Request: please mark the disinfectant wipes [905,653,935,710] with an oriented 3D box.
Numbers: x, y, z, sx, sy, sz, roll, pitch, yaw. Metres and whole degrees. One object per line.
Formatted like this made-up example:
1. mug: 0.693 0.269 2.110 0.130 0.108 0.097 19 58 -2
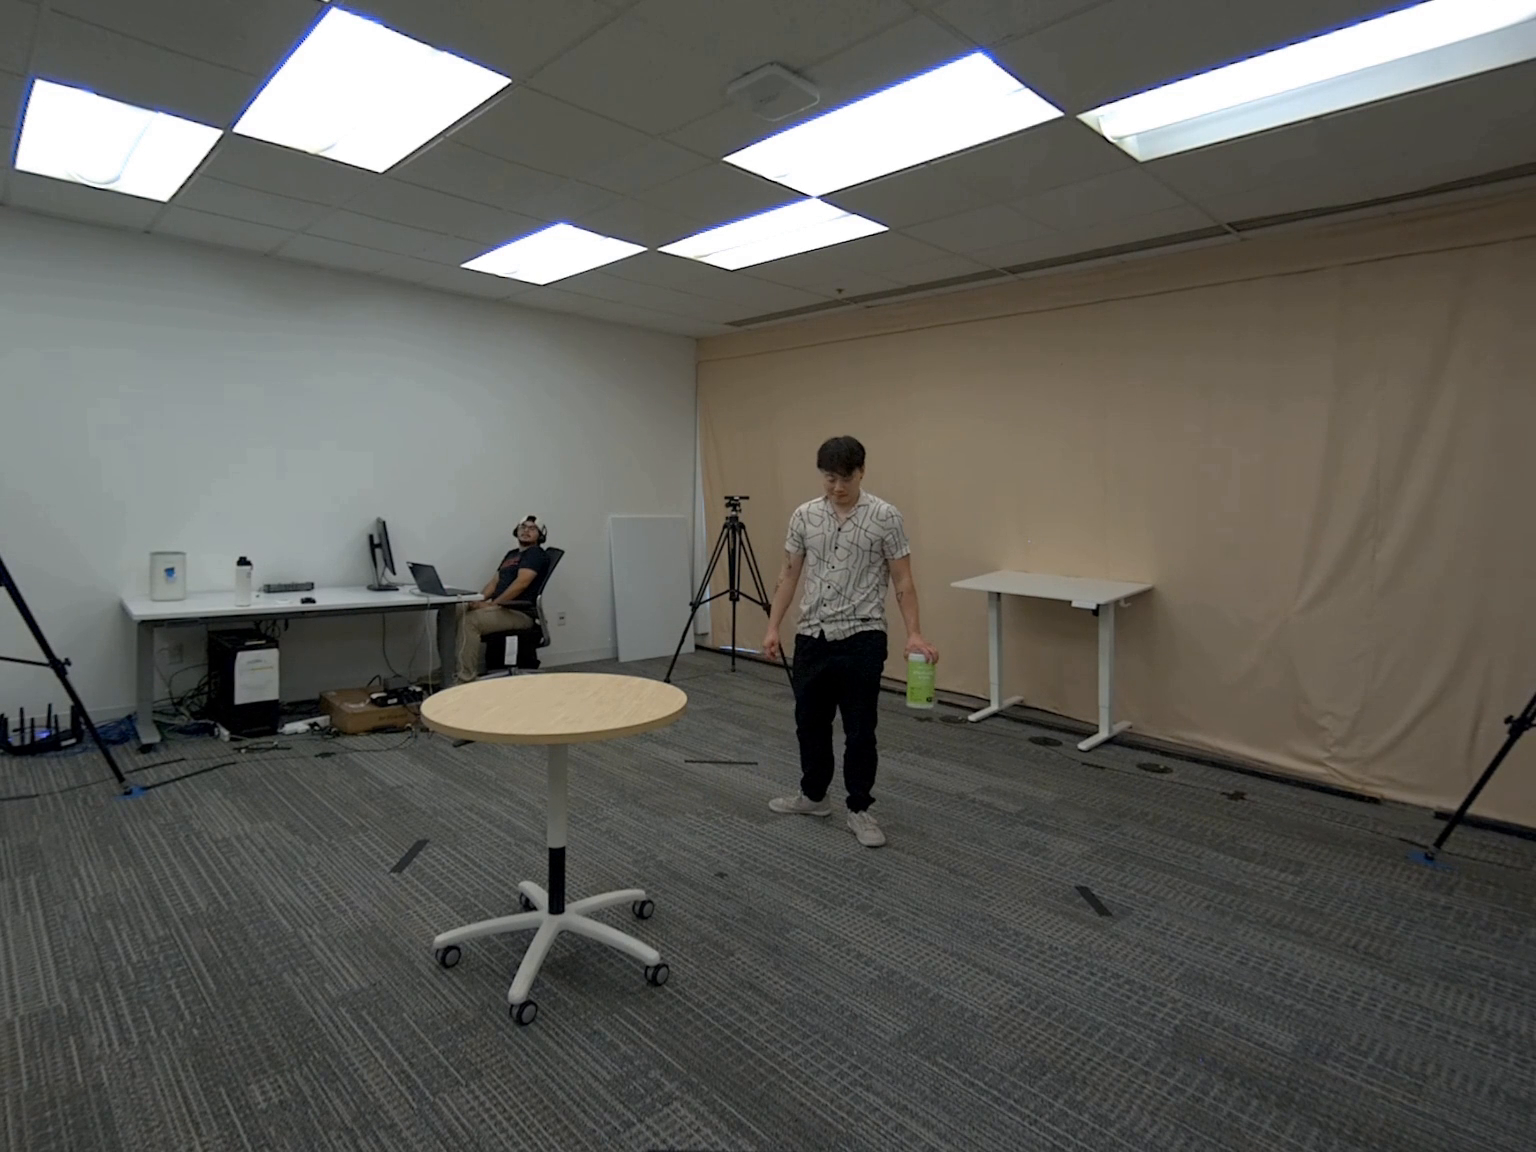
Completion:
1. disinfectant wipes: 0.603 0.420 3.376 0.118 0.218 0.118 1 -1 -1
